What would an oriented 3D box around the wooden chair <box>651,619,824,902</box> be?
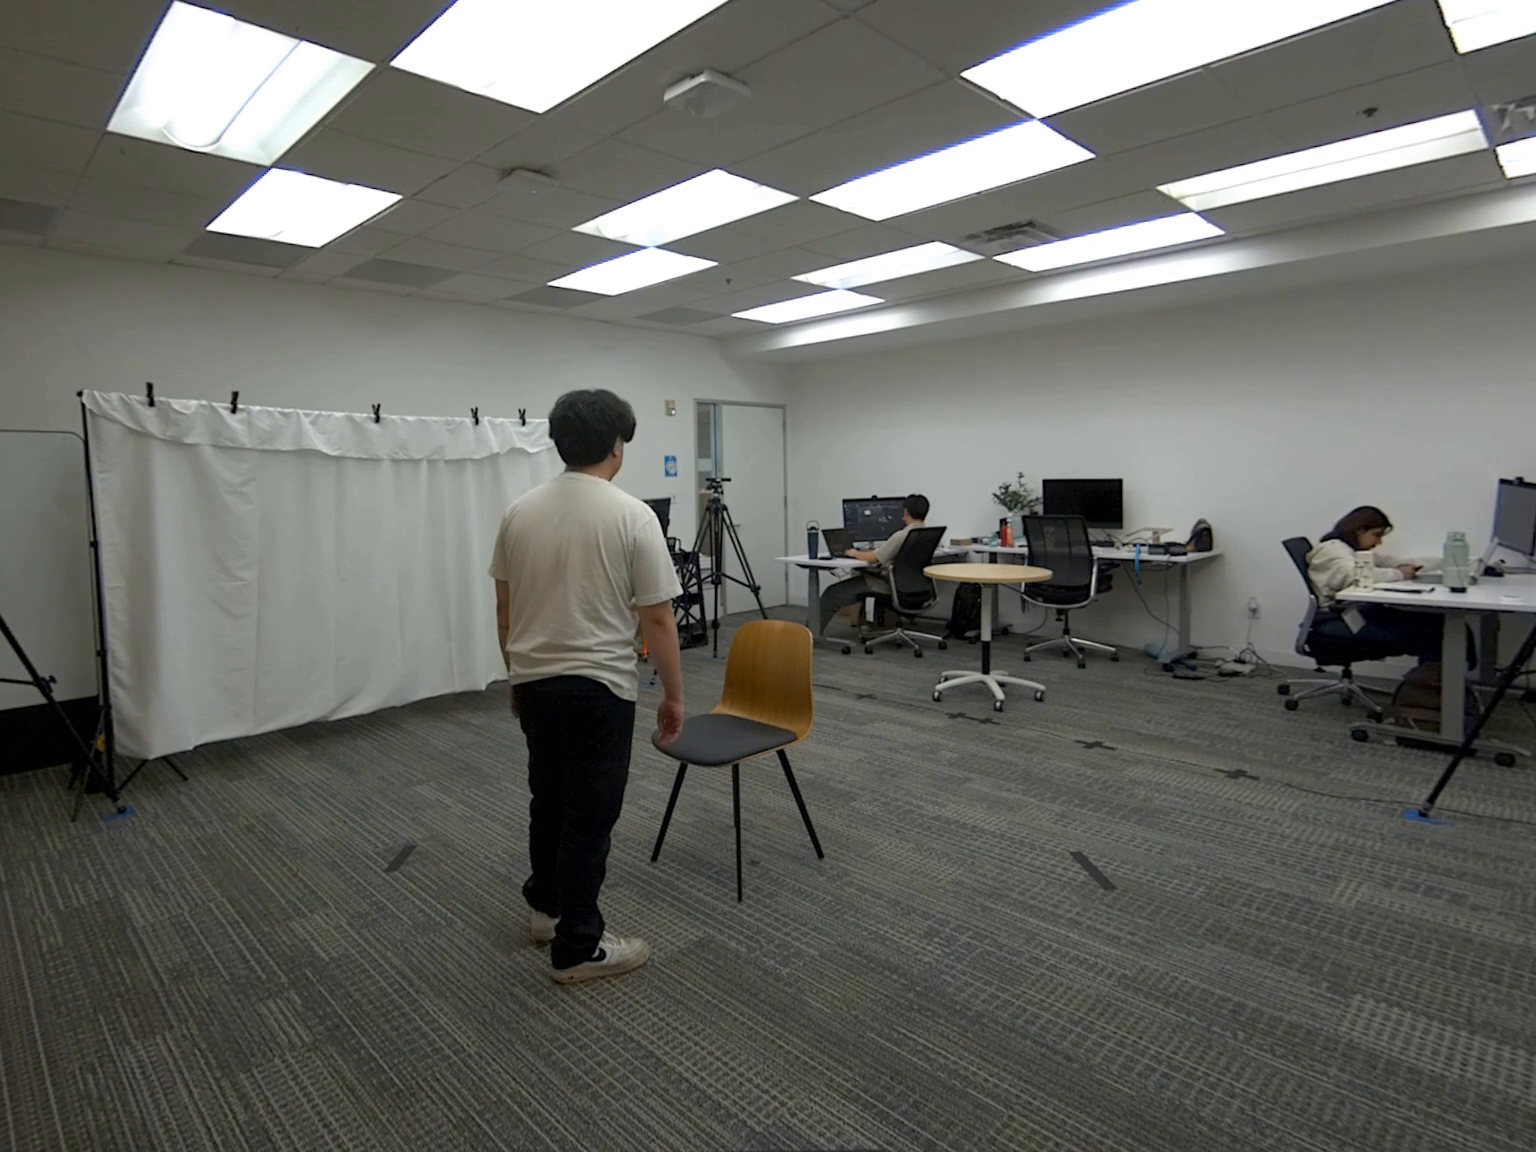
[{"bbox_3d":[-0.122,0.615,3.094,0.493,0.877,0.508,3,2,43],"label":"wooden chair"}]
